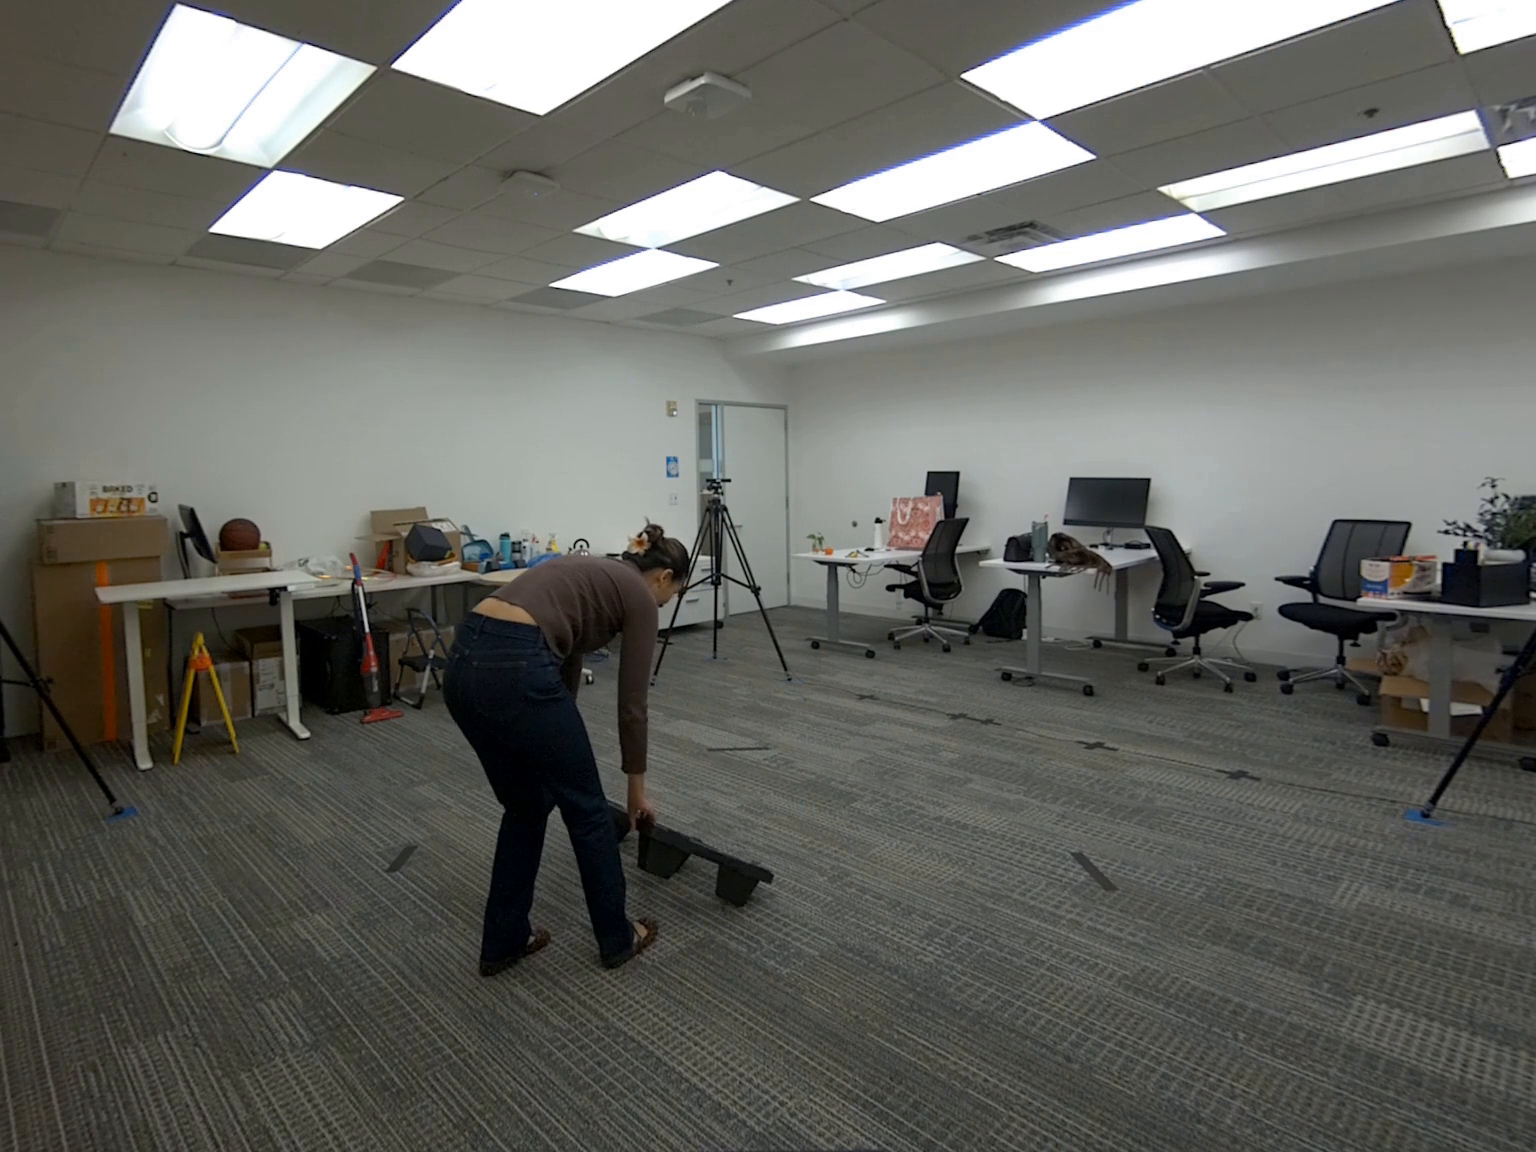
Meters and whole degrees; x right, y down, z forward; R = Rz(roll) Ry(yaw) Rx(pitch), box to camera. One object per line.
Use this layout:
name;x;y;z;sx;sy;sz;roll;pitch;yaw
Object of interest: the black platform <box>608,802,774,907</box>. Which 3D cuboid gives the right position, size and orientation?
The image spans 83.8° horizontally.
black platform;-0.457;0.893;2.940;0.831;0.144;0.582;6;-25;45
